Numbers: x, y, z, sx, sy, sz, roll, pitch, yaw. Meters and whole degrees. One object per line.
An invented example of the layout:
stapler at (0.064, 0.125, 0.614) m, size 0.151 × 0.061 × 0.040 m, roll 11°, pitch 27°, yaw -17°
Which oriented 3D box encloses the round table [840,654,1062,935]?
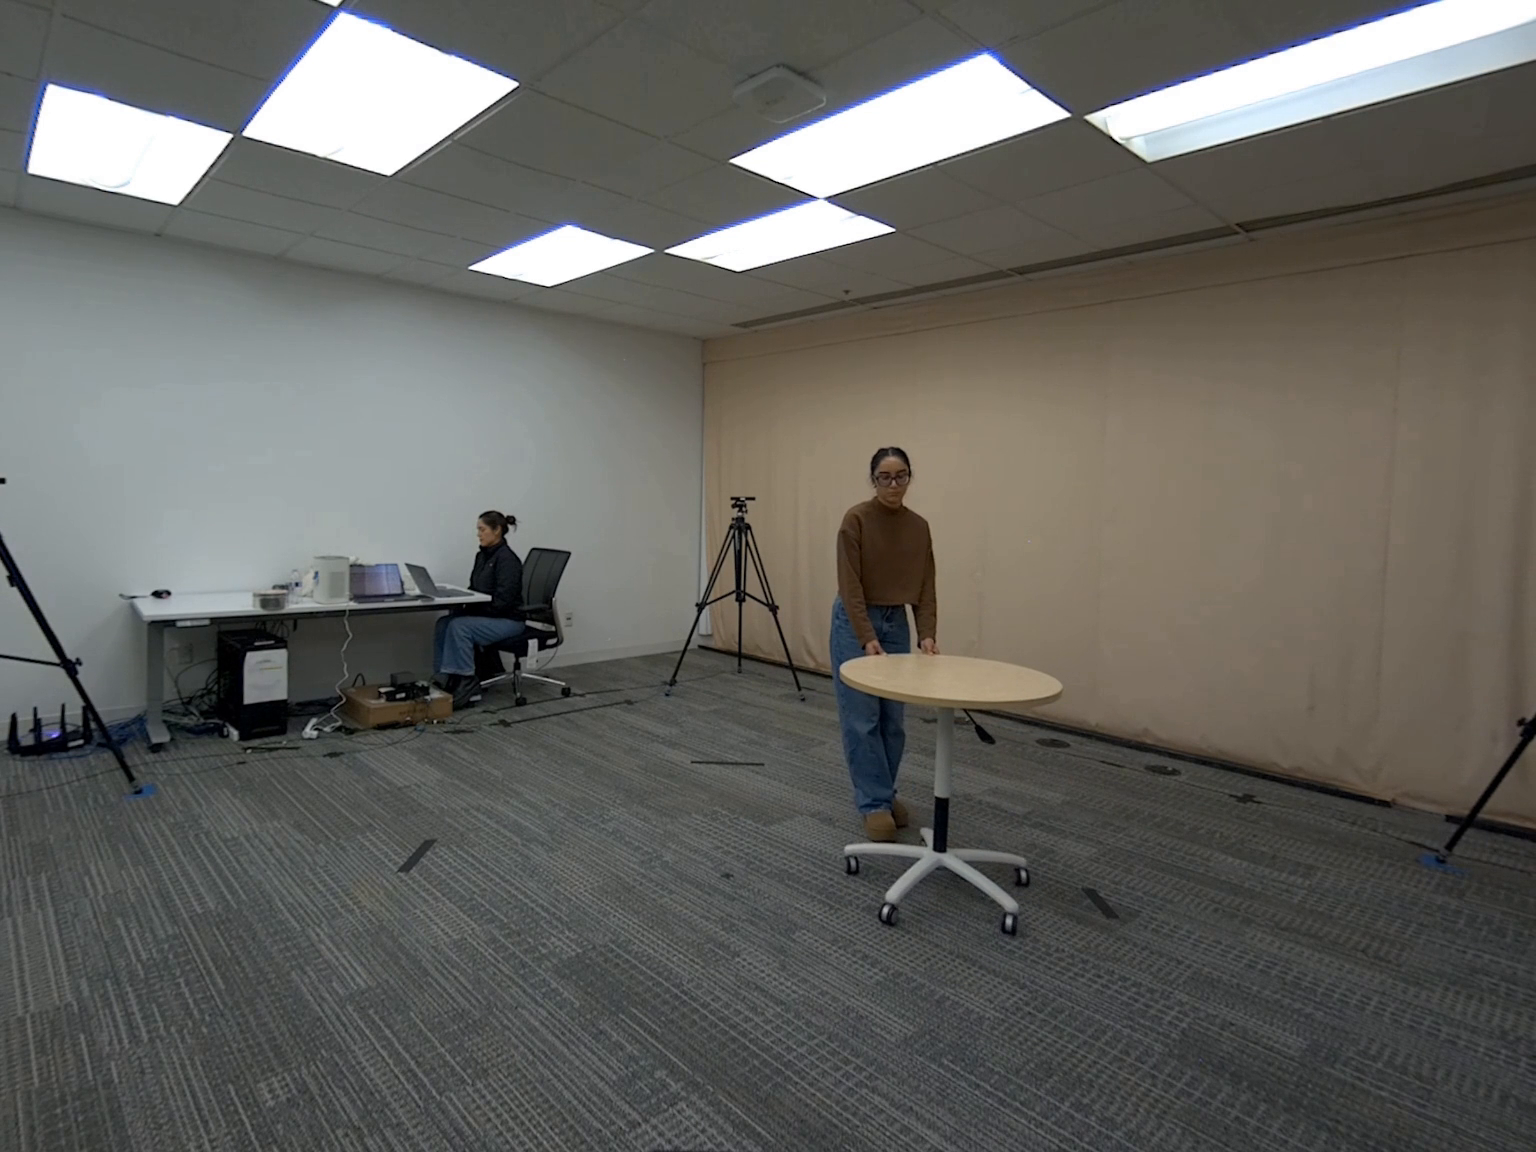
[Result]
round table at (0.613, 0.746, 3.023) m, size 0.763 × 0.792 × 0.767 m, roll 2°, pitch 4°, yaw -2°
